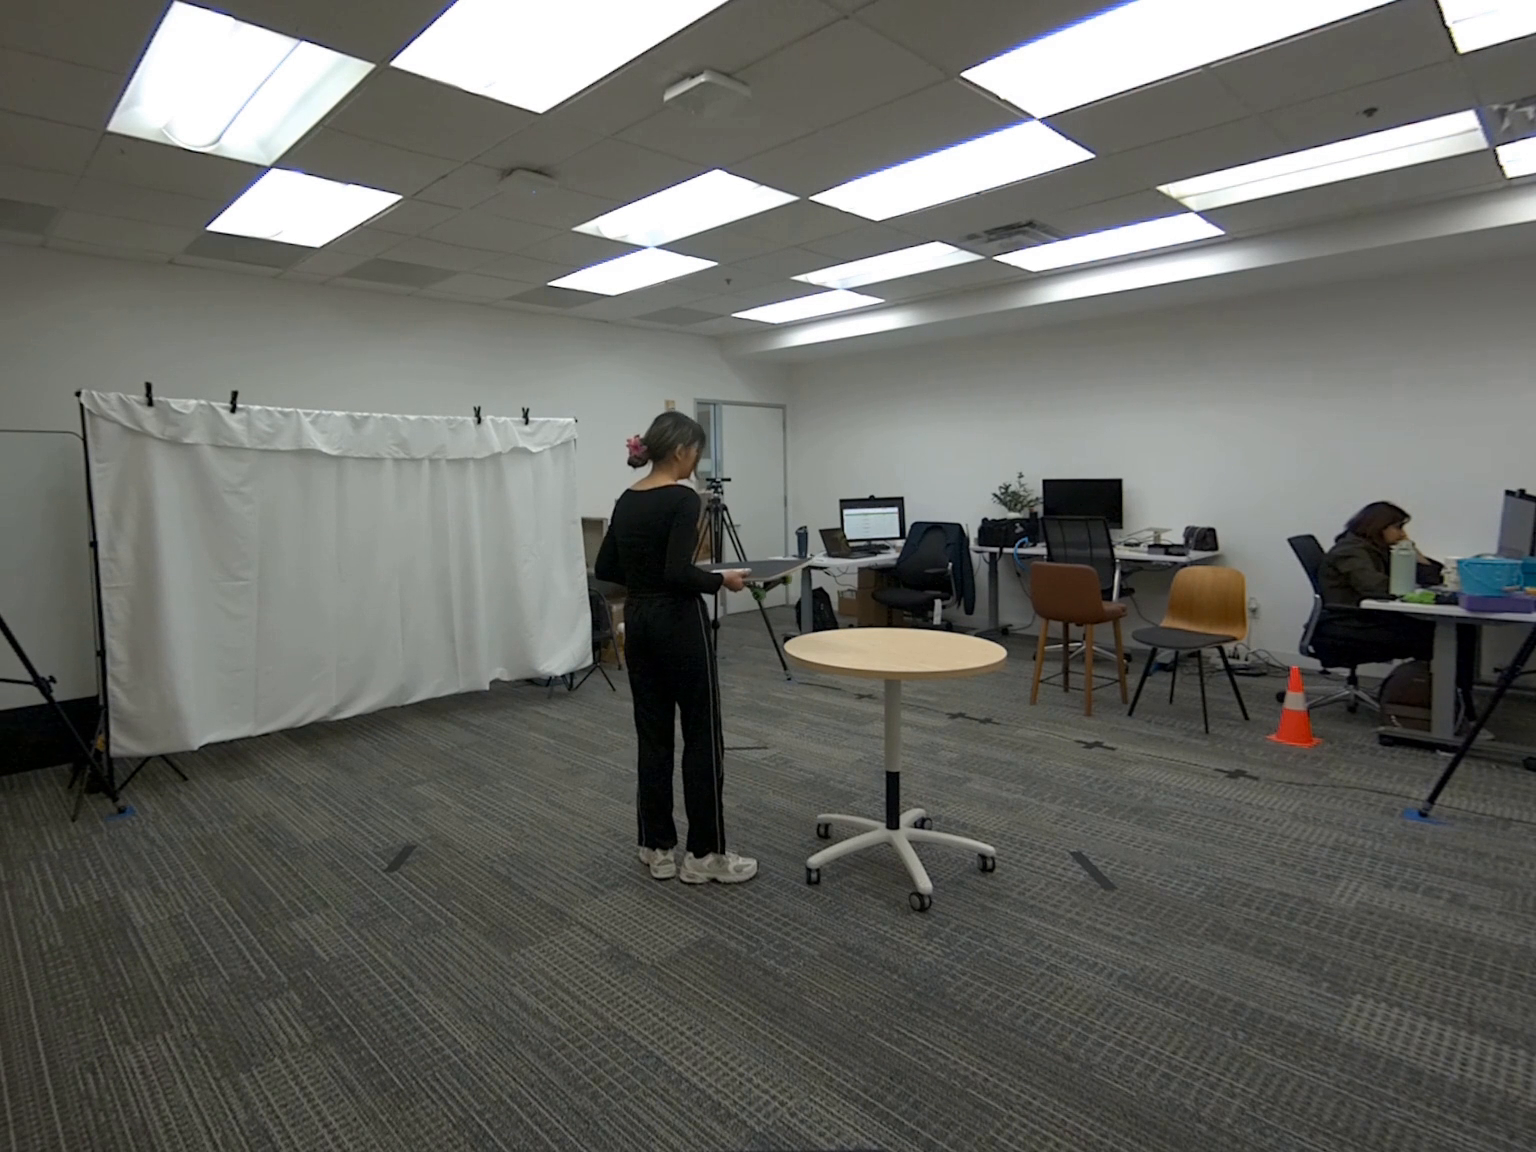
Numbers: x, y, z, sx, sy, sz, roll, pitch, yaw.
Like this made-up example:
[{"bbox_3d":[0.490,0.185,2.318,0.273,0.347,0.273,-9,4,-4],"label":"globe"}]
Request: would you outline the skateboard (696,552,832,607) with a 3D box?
[{"bbox_3d":[-0.144,0.019,3.186,0.807,0.108,0.191,-2,22,44],"label":"skateboard"}]
